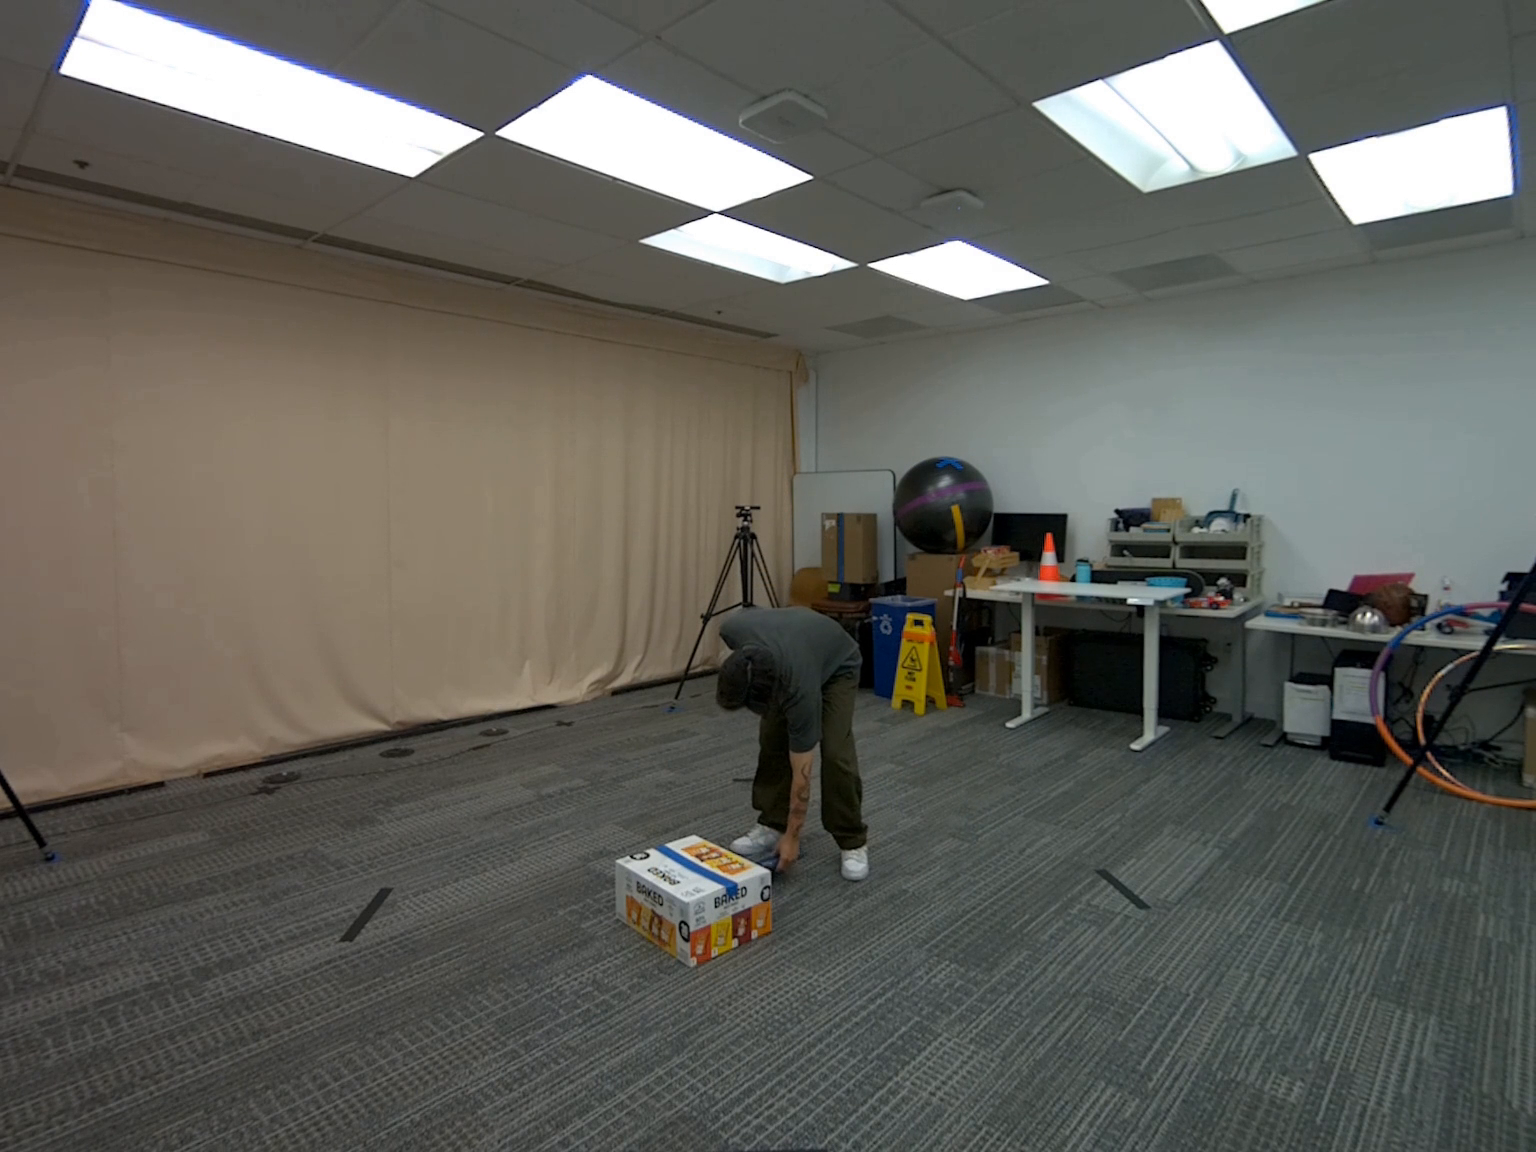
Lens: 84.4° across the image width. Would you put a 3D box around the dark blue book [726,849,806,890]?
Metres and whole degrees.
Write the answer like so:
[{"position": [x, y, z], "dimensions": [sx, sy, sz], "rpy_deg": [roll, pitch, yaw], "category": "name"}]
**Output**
[{"position": [-0.009, 1.076, 3.123], "dimensions": [0.238, 0.046, 0.164], "rpy_deg": [-7, -26, -36], "category": "dark blue book"}]
